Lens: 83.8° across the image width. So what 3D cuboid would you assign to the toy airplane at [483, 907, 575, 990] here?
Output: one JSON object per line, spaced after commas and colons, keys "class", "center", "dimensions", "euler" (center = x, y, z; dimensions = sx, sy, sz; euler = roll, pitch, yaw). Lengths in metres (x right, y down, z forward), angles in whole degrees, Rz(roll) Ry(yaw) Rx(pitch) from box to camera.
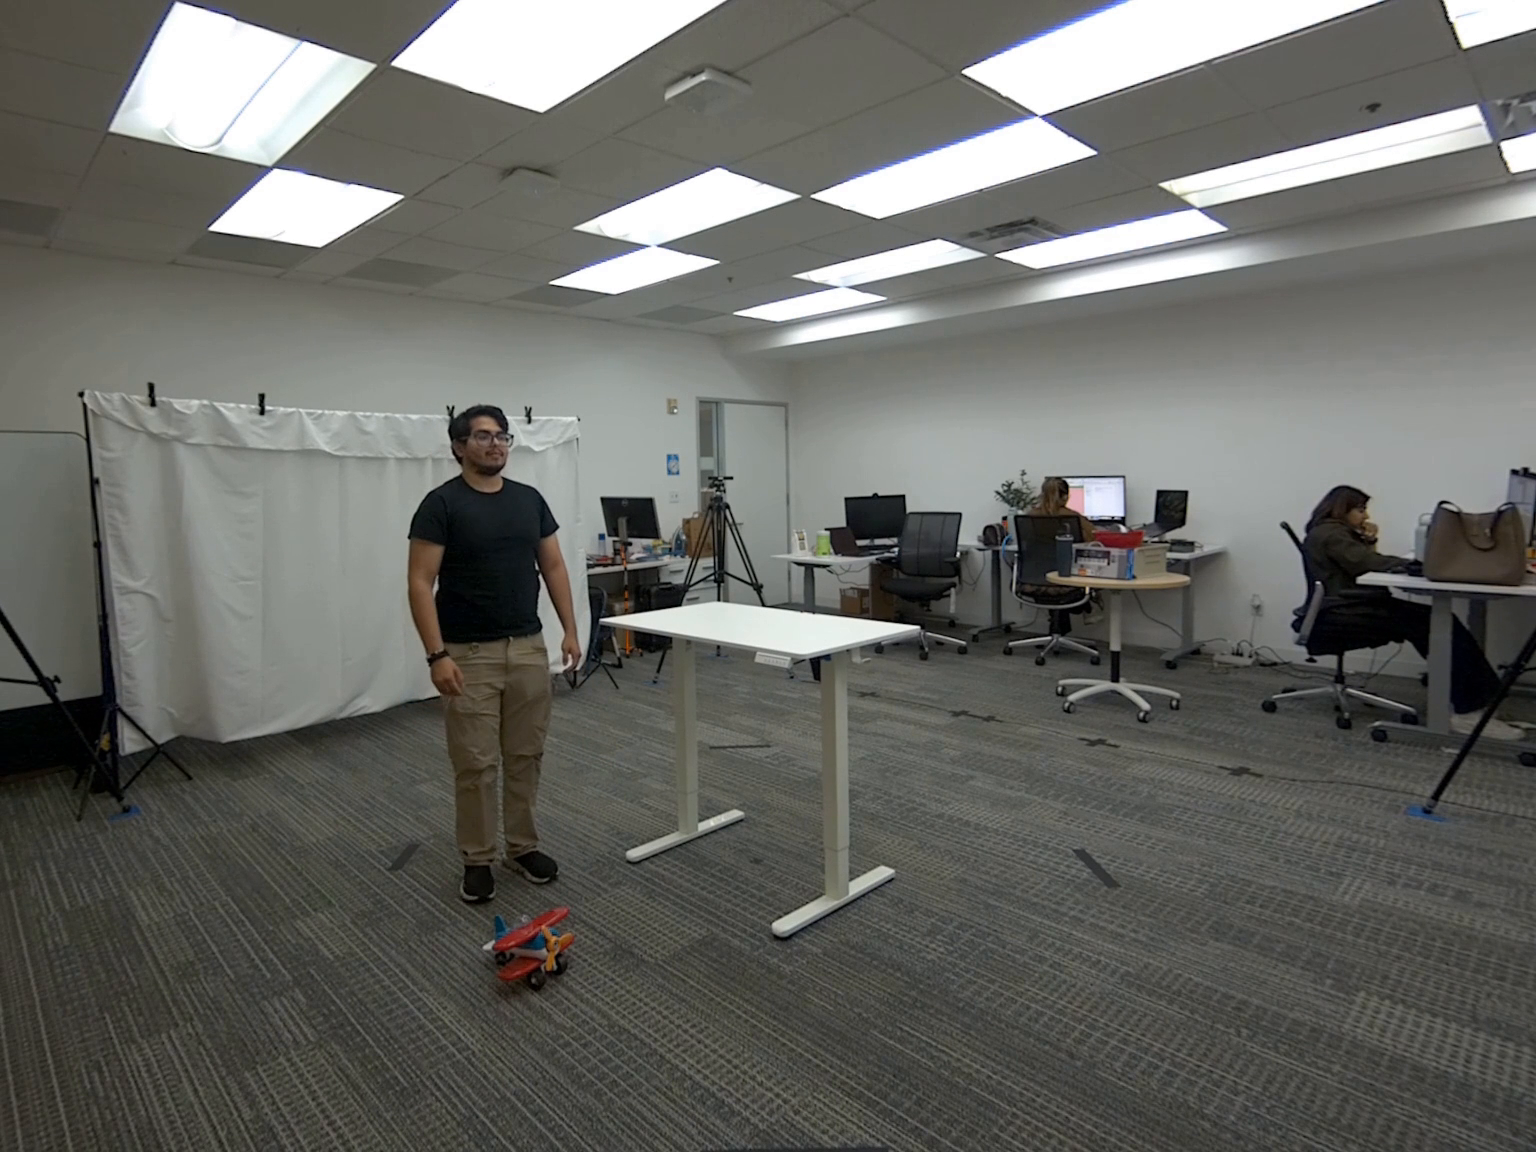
{"class": "toy airplane", "center": [-0.696, 1.058, 2.423], "dimensions": [0.261, 0.155, 0.250], "euler": [1, 7, 7]}
